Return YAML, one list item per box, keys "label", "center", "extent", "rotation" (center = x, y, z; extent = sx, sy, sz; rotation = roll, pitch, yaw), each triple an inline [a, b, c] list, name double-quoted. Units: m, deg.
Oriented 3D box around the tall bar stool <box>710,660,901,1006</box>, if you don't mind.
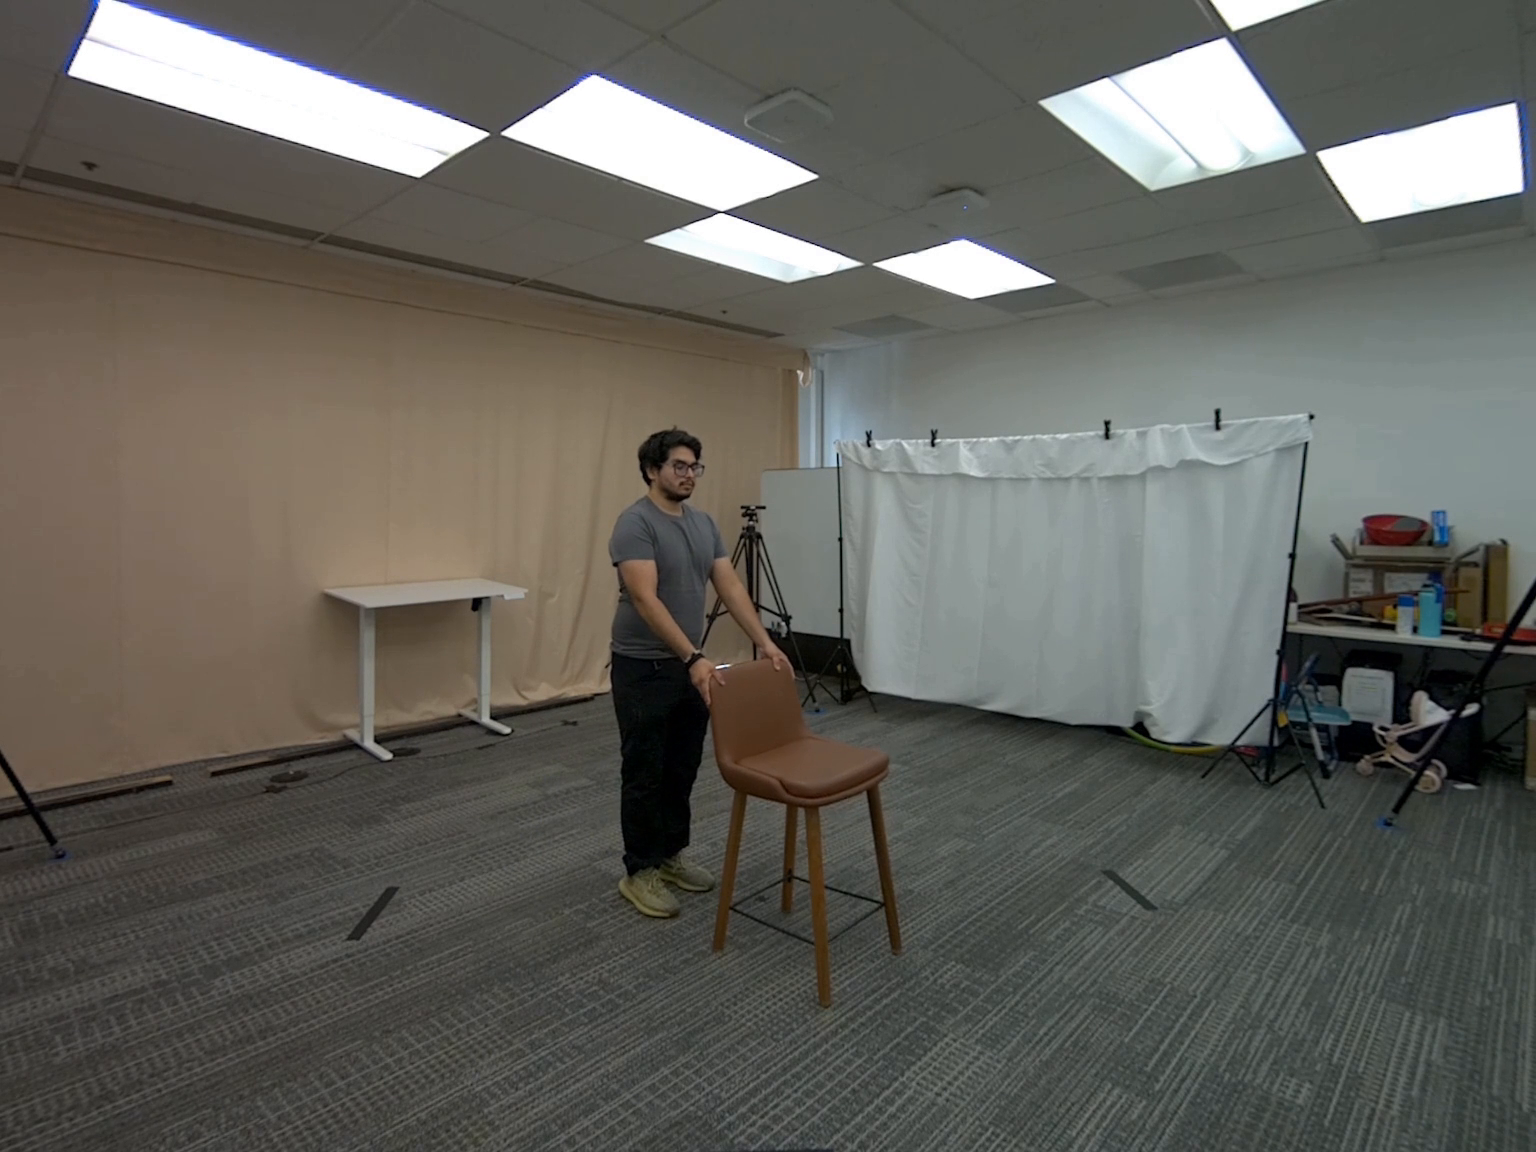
- label: "tall bar stool"
  center: [0.105, 0.734, 2.615]
  extent: [0.482, 0.889, 0.442]
  rotation: [-2, 2, 42]
